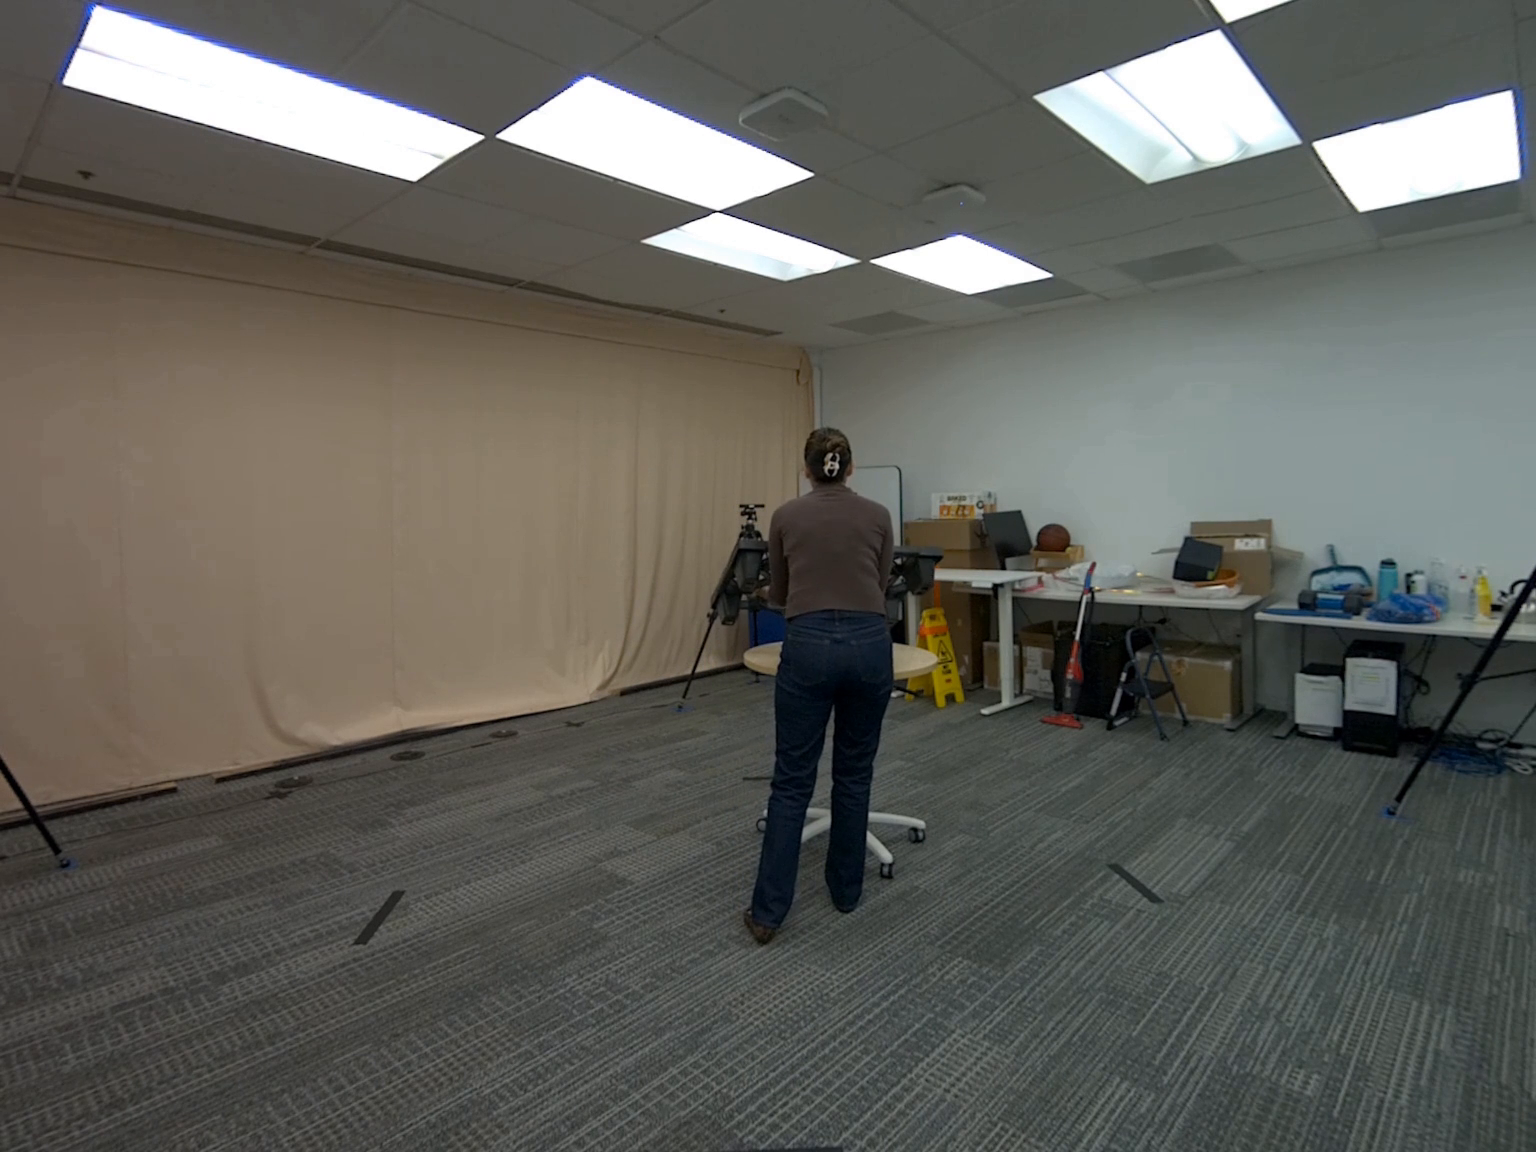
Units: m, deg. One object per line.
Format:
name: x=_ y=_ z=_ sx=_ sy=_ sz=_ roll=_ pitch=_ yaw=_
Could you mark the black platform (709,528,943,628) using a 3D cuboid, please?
black platform: x=0.206 y=0.065 z=3.345 sx=0.796 sy=0.145 sz=0.603 roll=3 pitch=-26 yaw=-11
